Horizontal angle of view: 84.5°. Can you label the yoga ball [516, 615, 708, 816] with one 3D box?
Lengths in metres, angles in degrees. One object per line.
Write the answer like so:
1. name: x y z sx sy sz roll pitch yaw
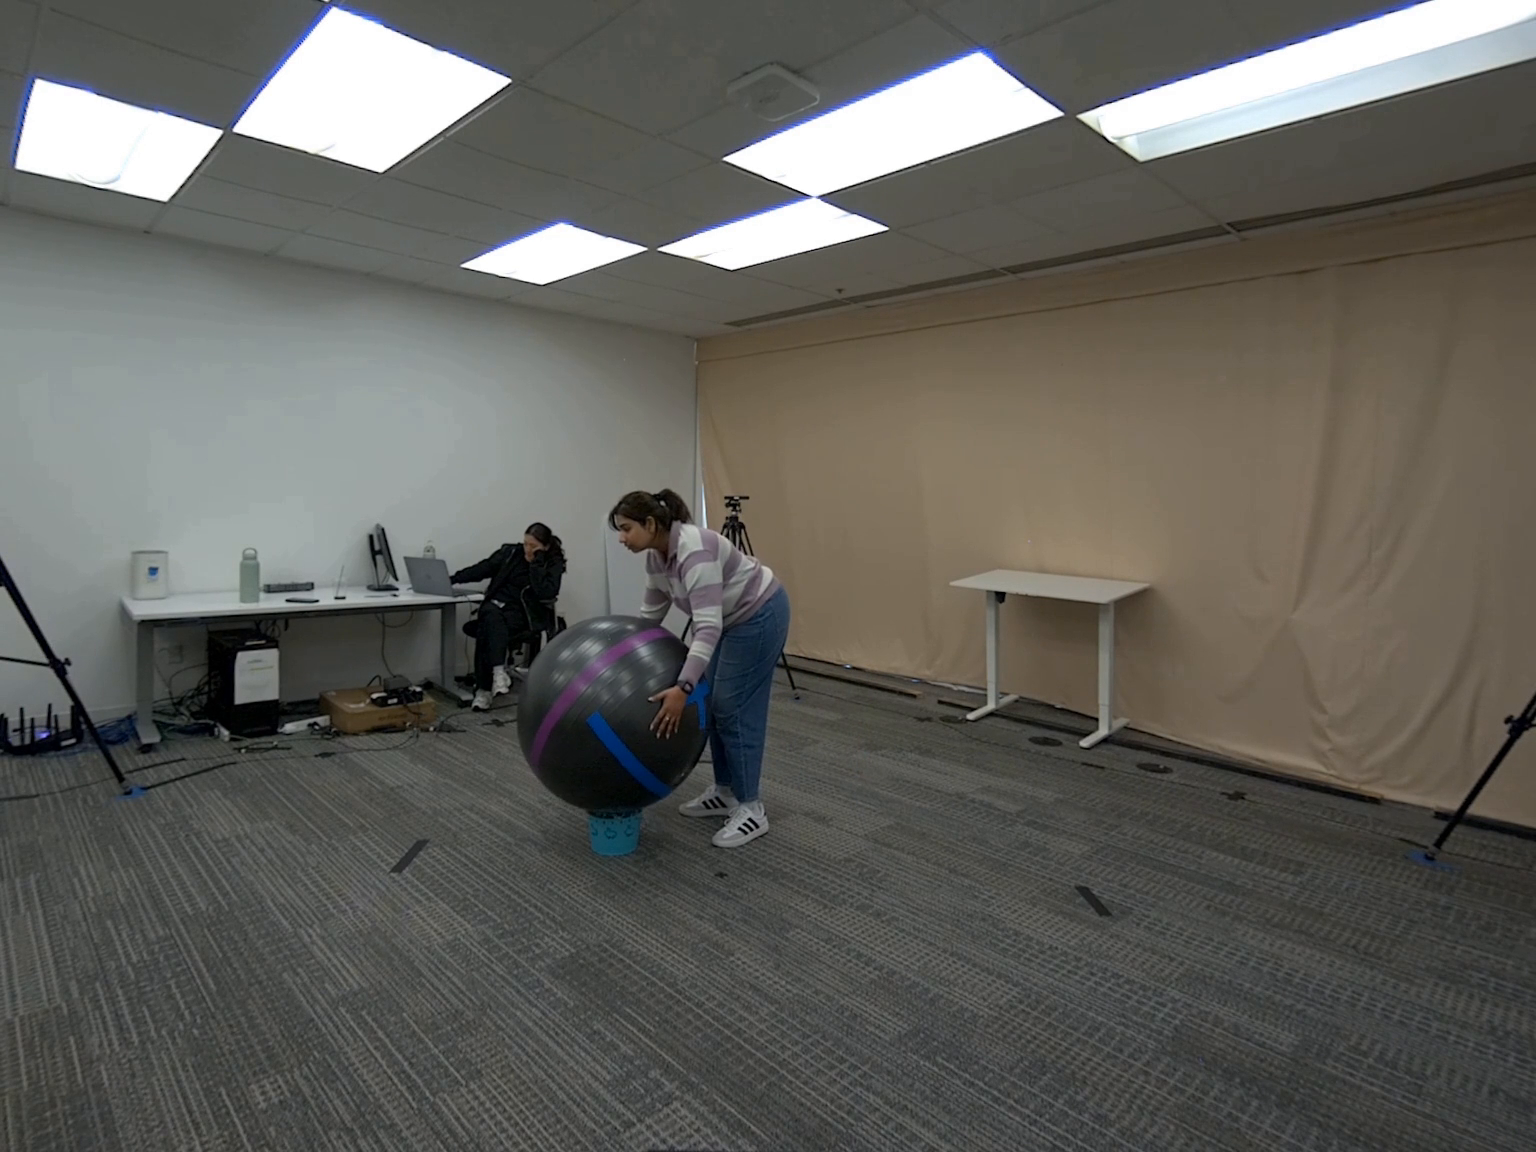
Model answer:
1. yoga ball: -0.613 0.533 3.312 0.757 0.756 0.761 1 4 -1
